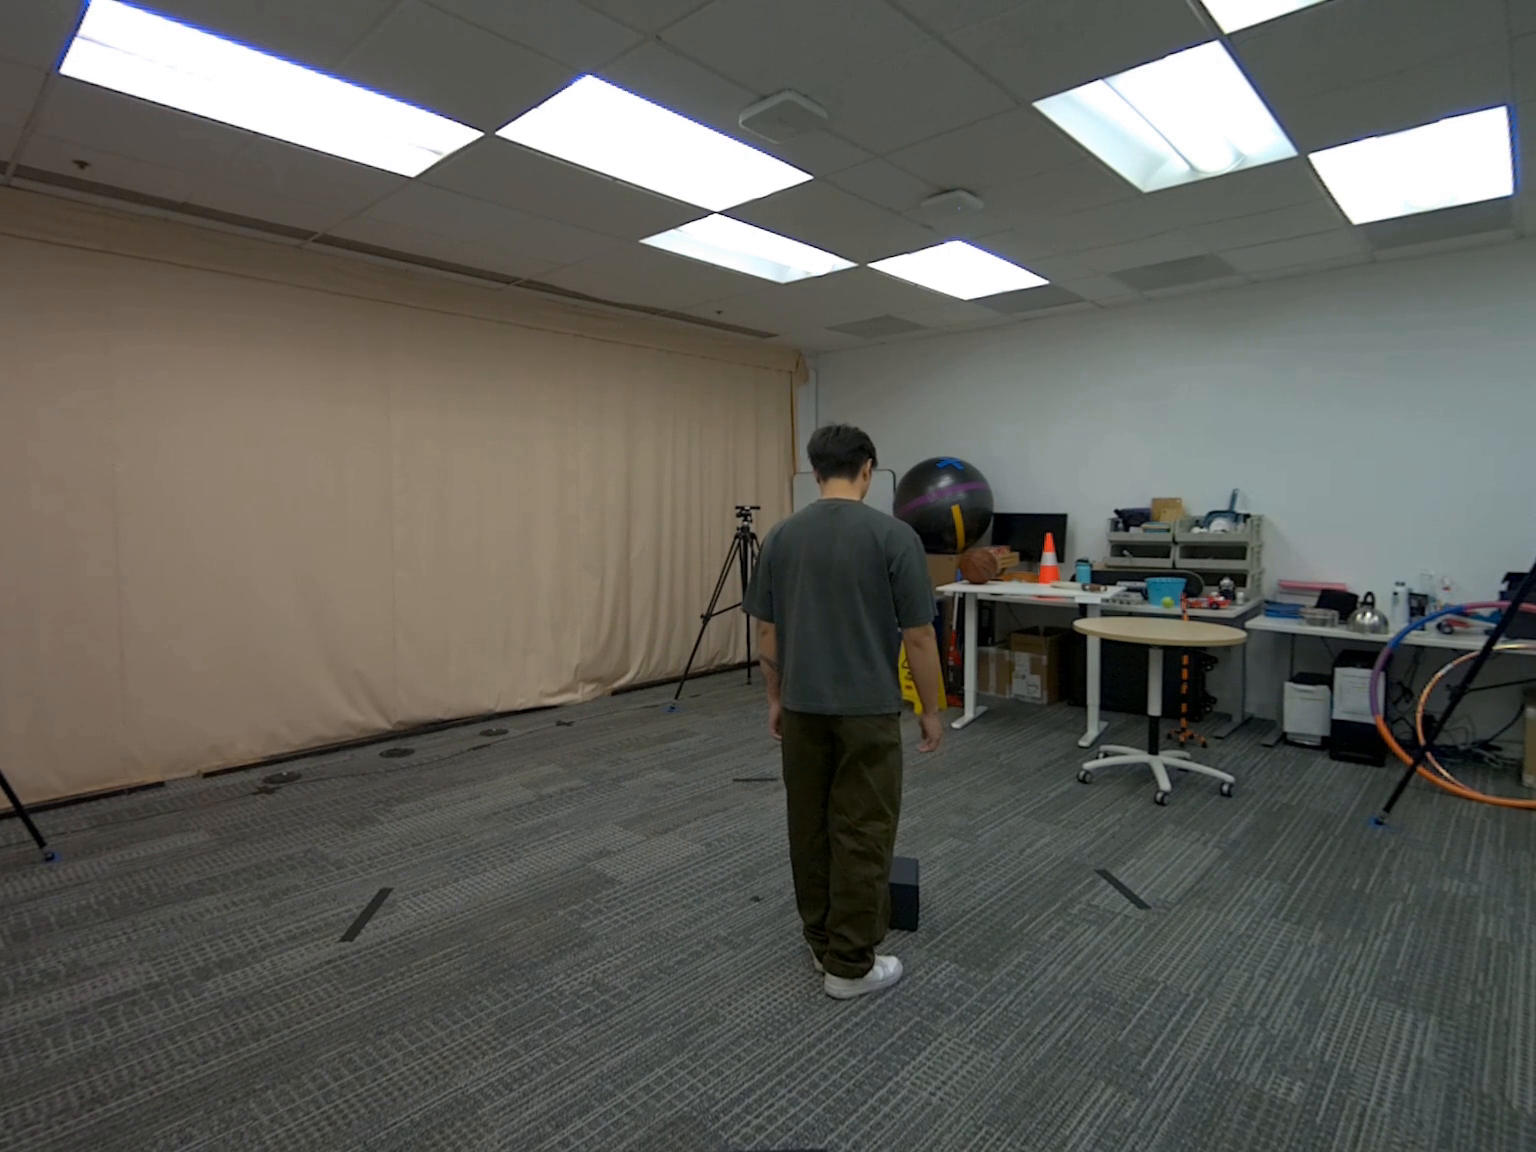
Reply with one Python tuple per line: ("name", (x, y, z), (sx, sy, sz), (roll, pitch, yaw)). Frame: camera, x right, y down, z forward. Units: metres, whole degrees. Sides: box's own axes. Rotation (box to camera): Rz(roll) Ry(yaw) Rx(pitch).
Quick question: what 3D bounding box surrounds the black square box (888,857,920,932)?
("black square box", (0.404, 1.067, 2.872), (0.231, 0.155, 0.214), (1, 4, 12))
